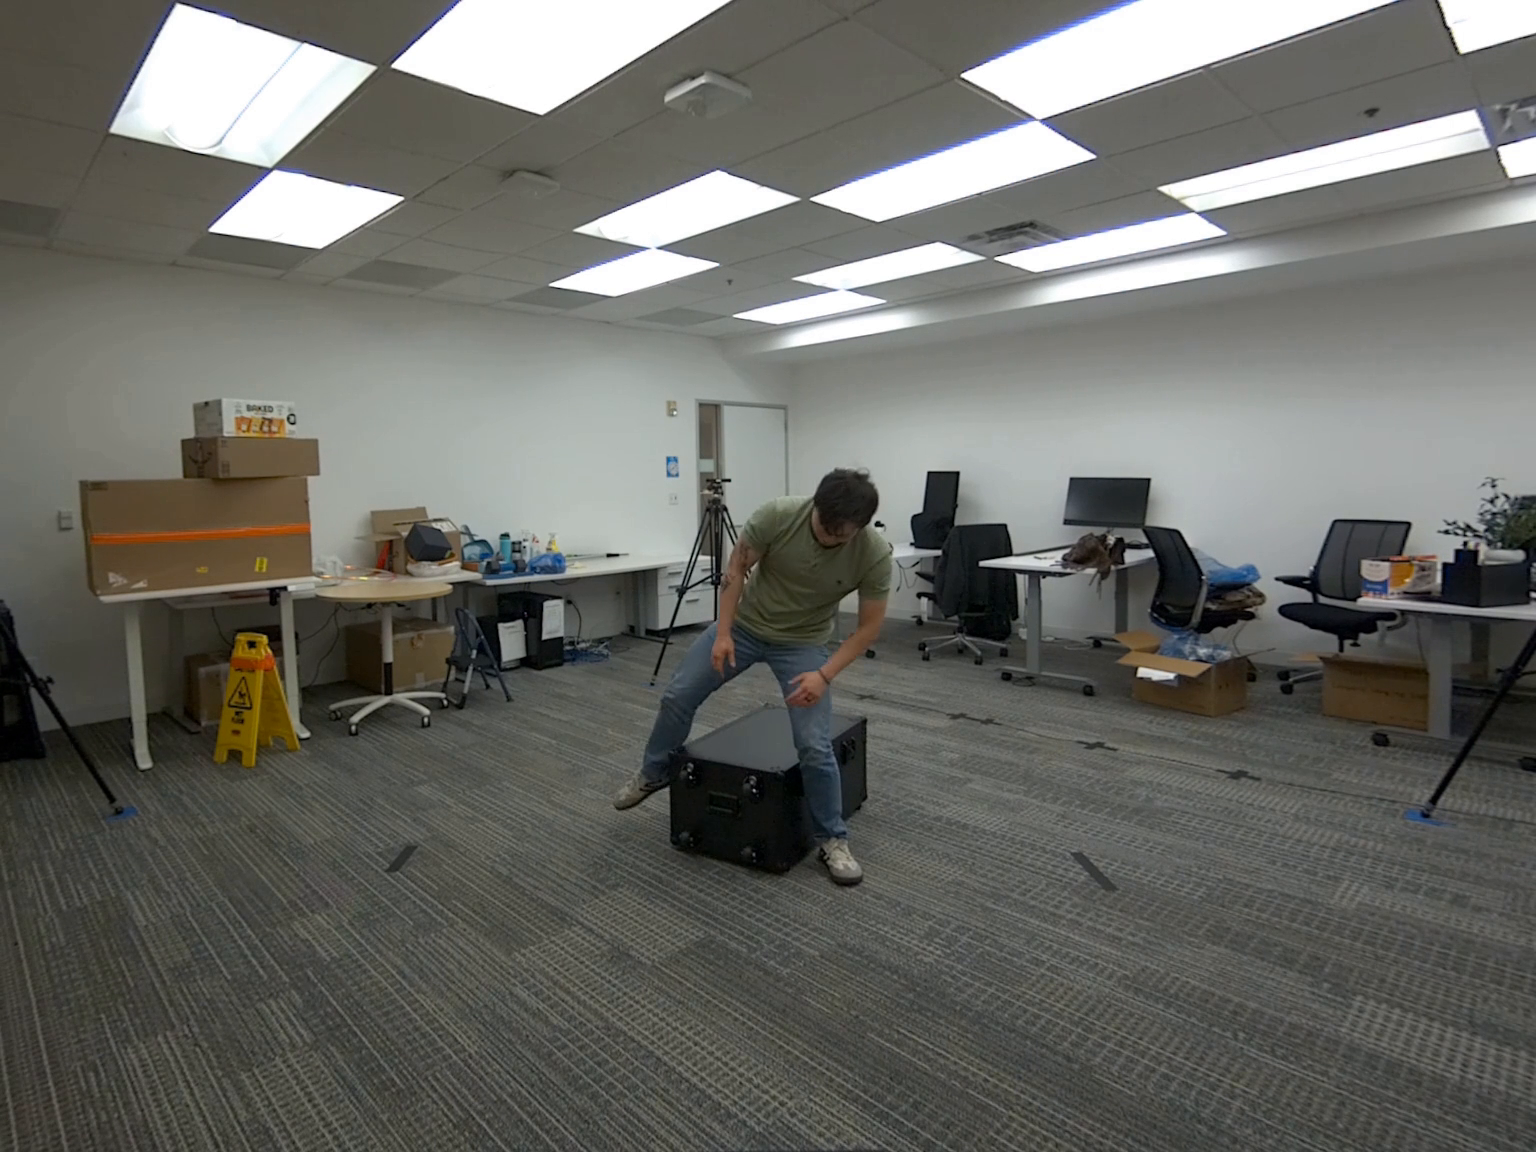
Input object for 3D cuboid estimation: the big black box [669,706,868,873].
[{"bbox_3d":[0.009,0.818,3.399,0.535,0.394,0.843,2,6,29],"label":"big black box"}]
